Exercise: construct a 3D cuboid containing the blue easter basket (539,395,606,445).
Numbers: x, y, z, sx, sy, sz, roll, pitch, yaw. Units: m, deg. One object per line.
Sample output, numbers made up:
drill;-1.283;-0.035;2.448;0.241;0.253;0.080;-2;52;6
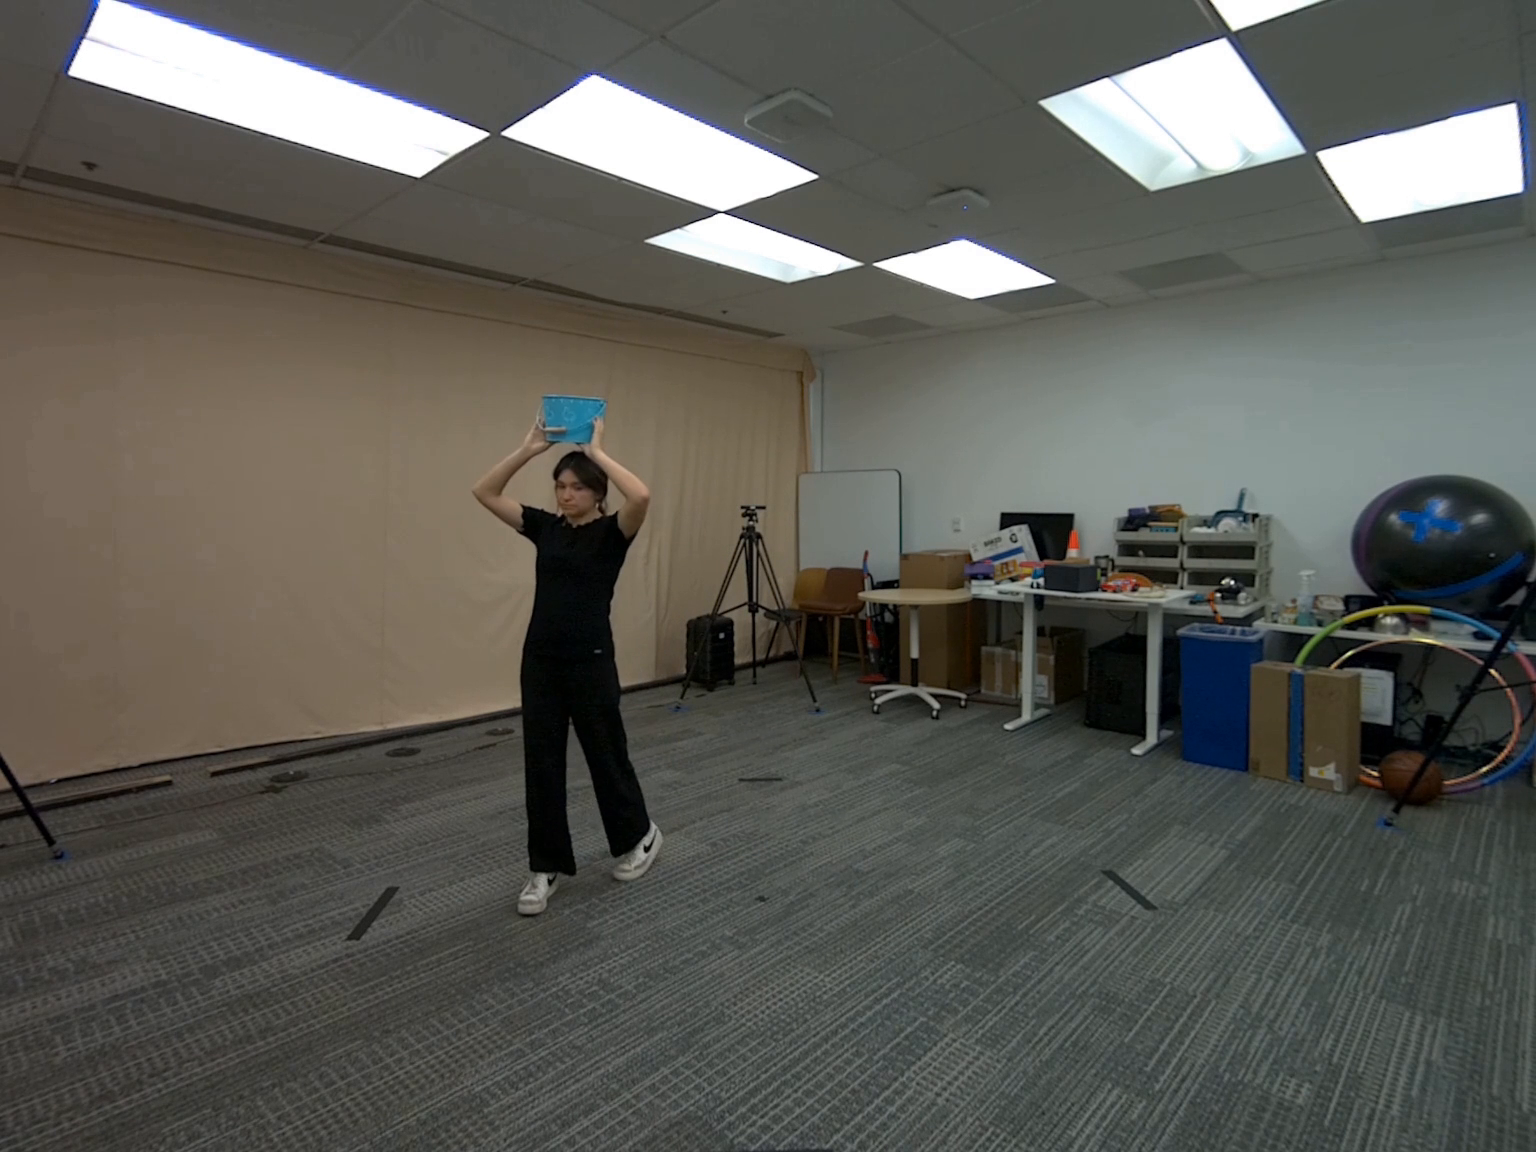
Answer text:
blue easter basket;-0.695;-0.545;2.947;0.243;0.155;0.244;2;5;-2
